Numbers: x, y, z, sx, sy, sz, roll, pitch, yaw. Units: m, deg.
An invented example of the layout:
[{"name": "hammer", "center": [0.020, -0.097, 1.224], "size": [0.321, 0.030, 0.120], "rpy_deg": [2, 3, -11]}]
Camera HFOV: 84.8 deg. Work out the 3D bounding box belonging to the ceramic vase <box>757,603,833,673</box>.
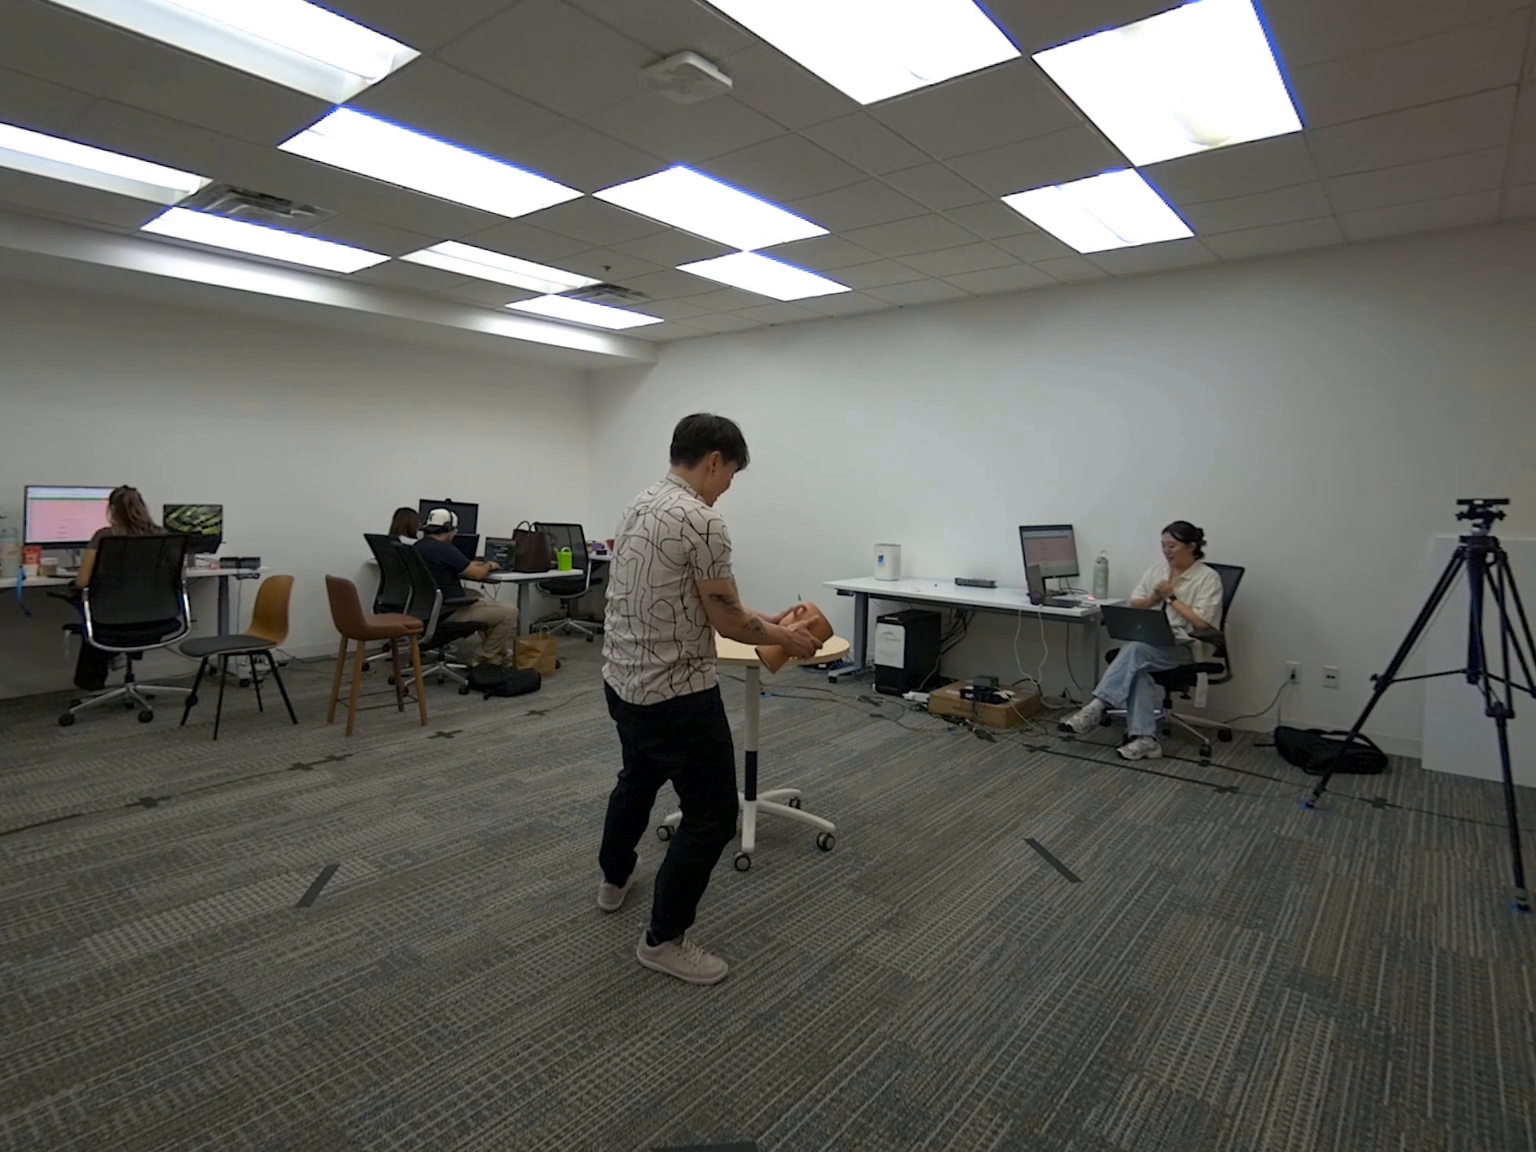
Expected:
[{"name": "ceramic vase", "center": [0.074, 0.188, 2.598], "size": [0.219, 0.159, 0.134], "rpy_deg": [-37, -2, -11]}]
